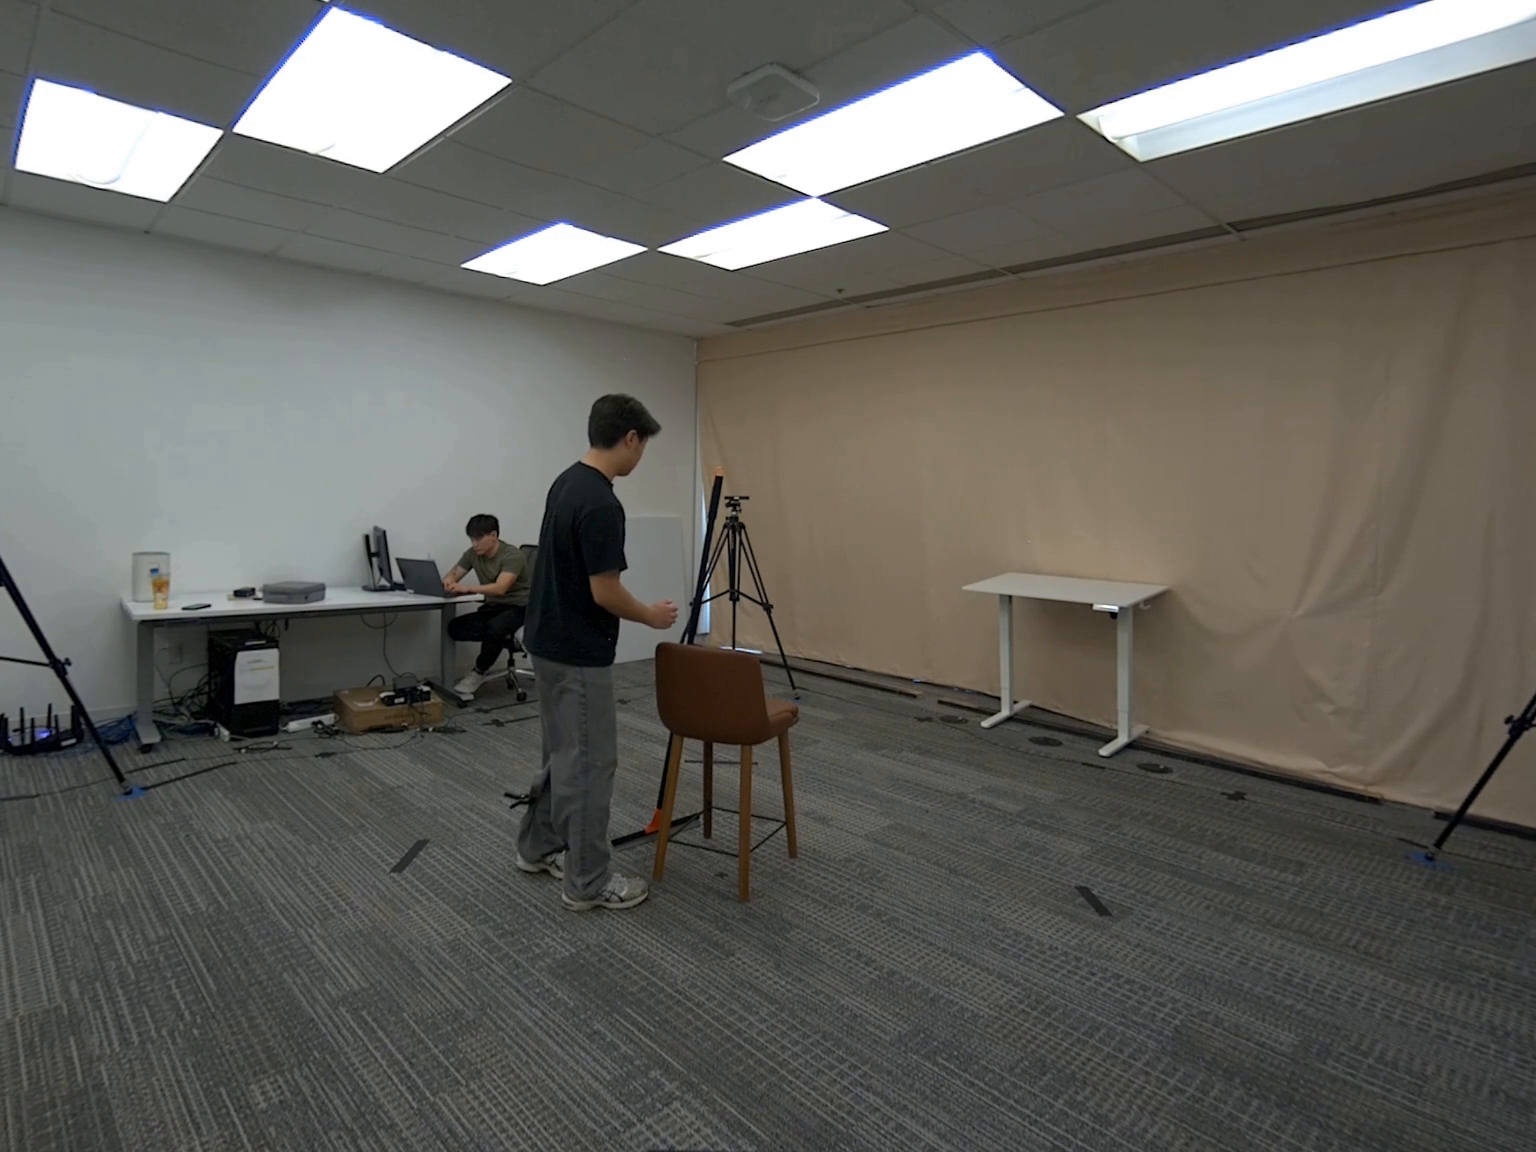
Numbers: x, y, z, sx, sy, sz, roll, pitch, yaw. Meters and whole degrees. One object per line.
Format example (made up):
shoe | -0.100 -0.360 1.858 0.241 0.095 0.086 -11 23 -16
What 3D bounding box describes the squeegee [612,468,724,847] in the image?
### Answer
squeegee | -0.321 0.332 3.263 0.427 1.526 0.054 -1 16 -39
